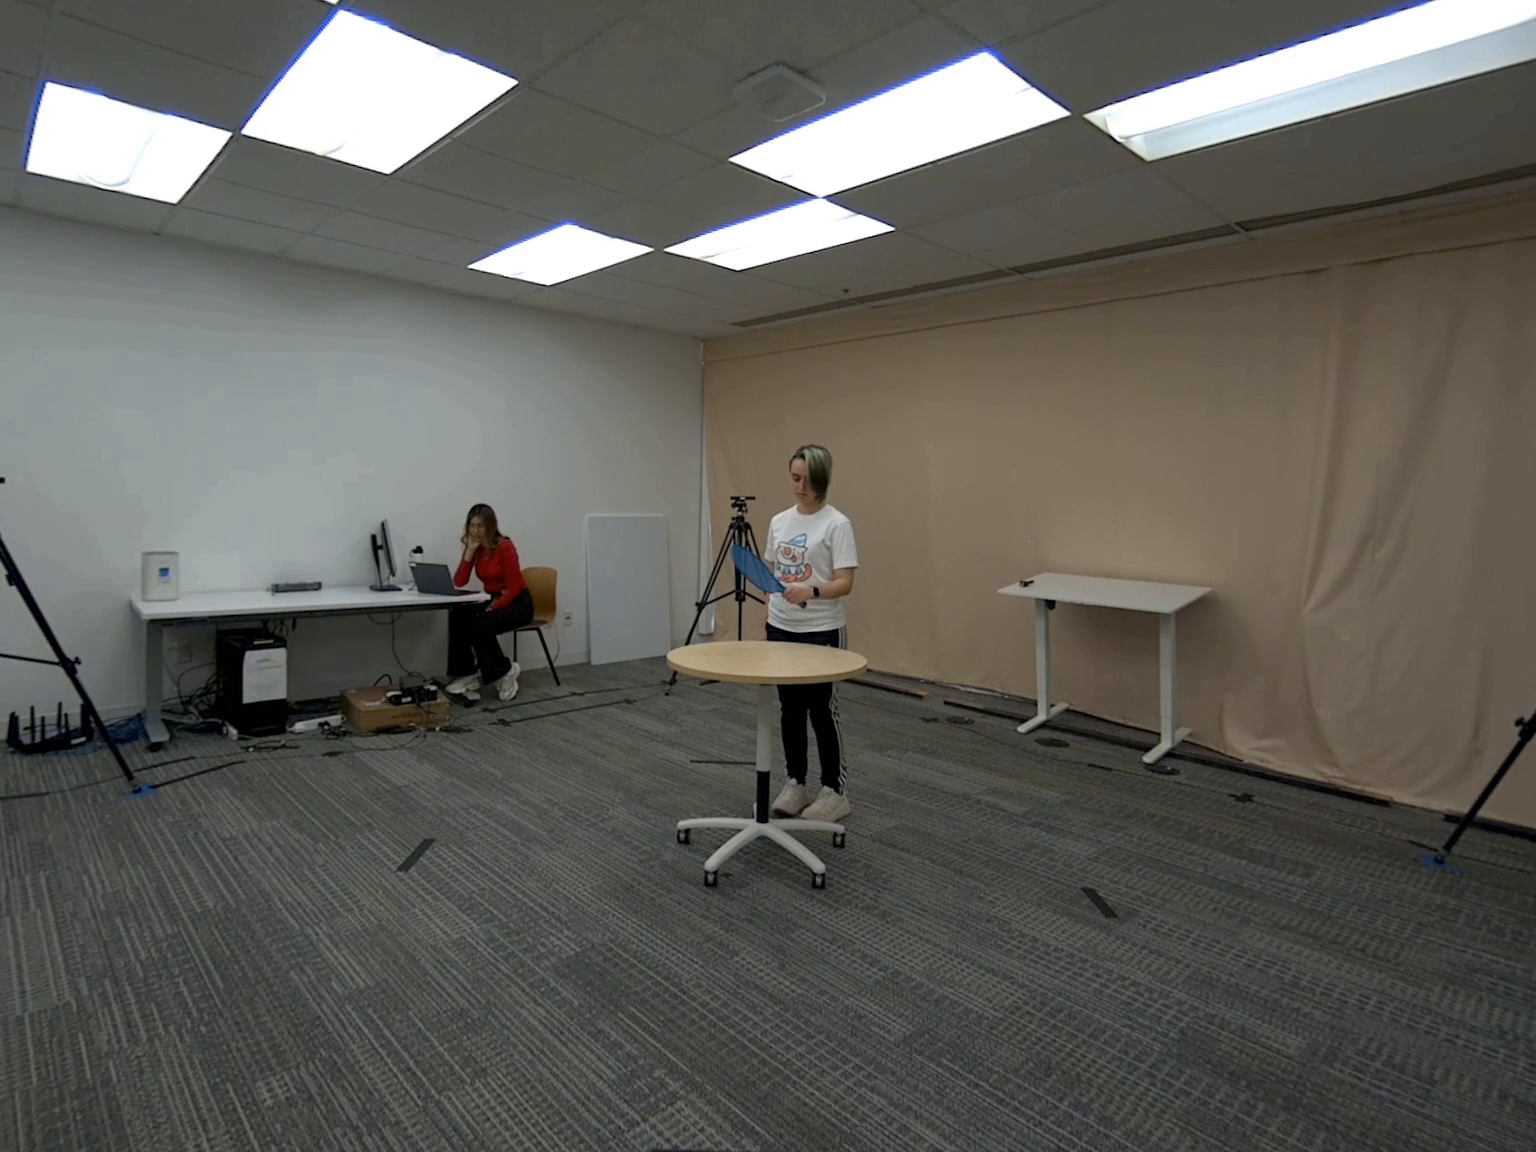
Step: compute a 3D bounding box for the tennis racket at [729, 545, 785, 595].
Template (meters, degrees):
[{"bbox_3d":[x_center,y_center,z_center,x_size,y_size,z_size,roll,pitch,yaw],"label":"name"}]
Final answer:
[{"bbox_3d":[-0.010,0.014,3.382,0.032,0.219,0.420,-37,-48,22],"label":"tennis racket"}]
